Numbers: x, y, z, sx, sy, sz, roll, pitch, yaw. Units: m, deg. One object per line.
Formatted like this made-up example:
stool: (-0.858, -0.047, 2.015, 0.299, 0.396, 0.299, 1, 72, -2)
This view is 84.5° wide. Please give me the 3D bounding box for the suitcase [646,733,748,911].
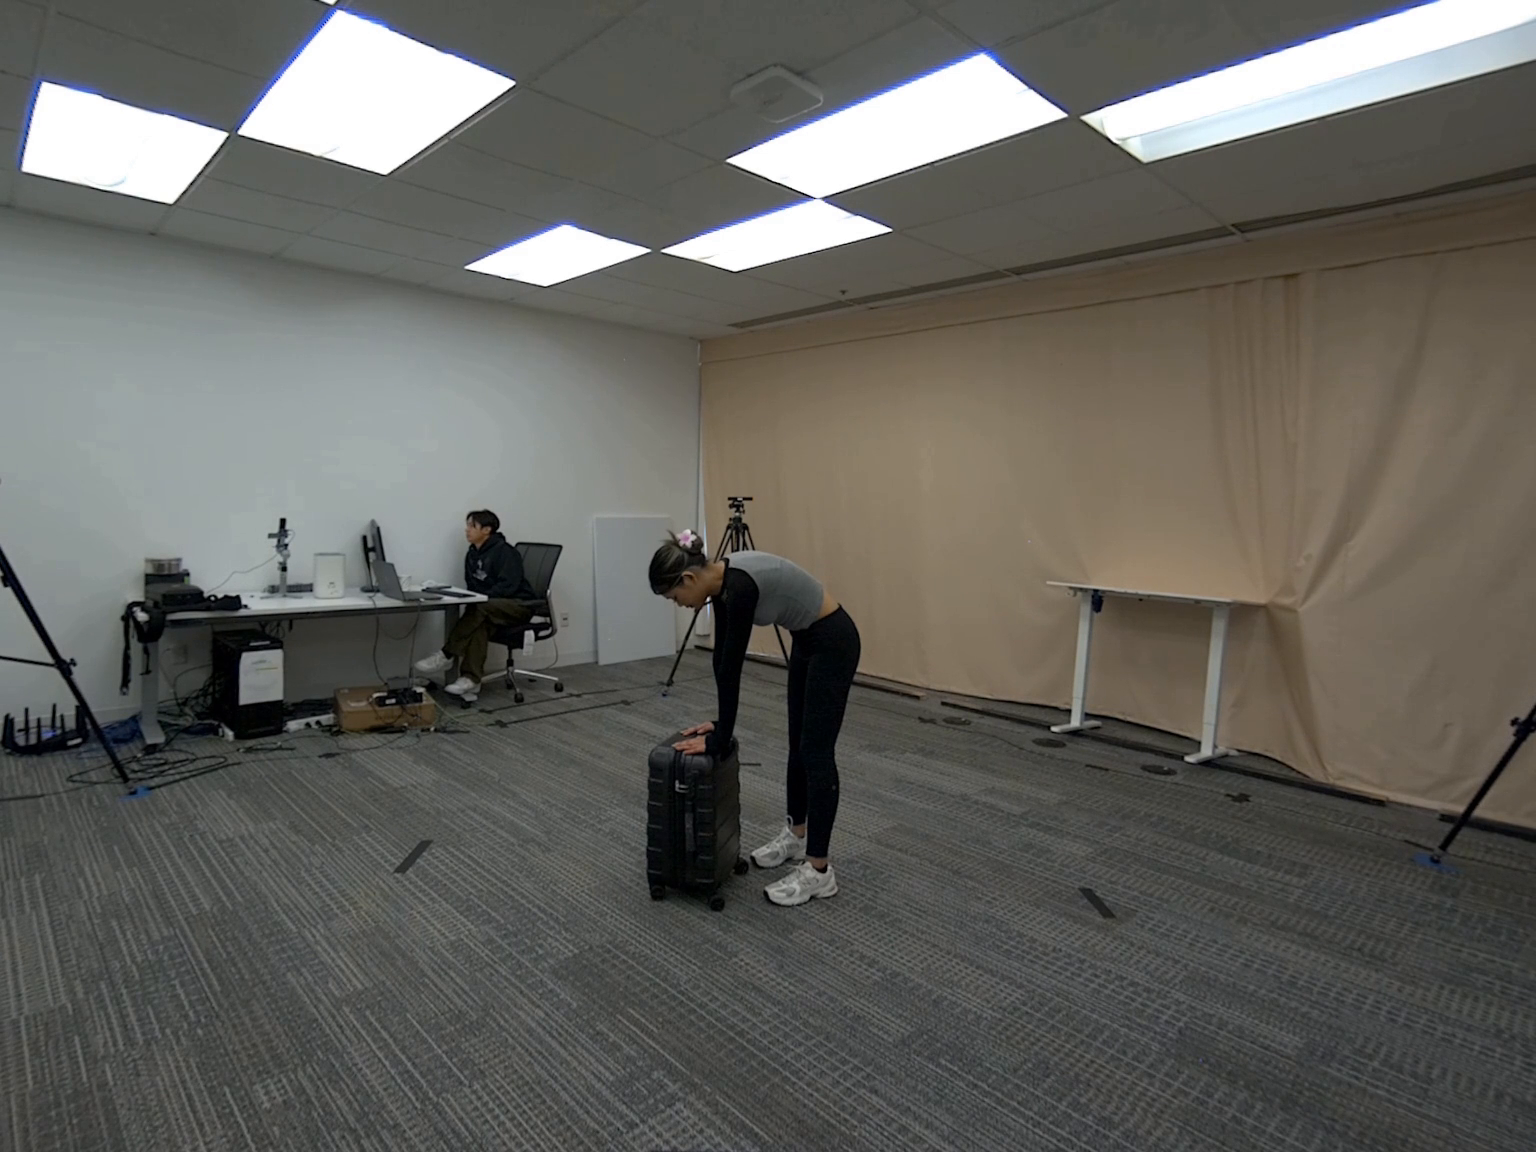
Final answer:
suitcase: (-0.261, 0.839, 3.005, 0.252, 0.548, 0.371, 1, 3, 18)
